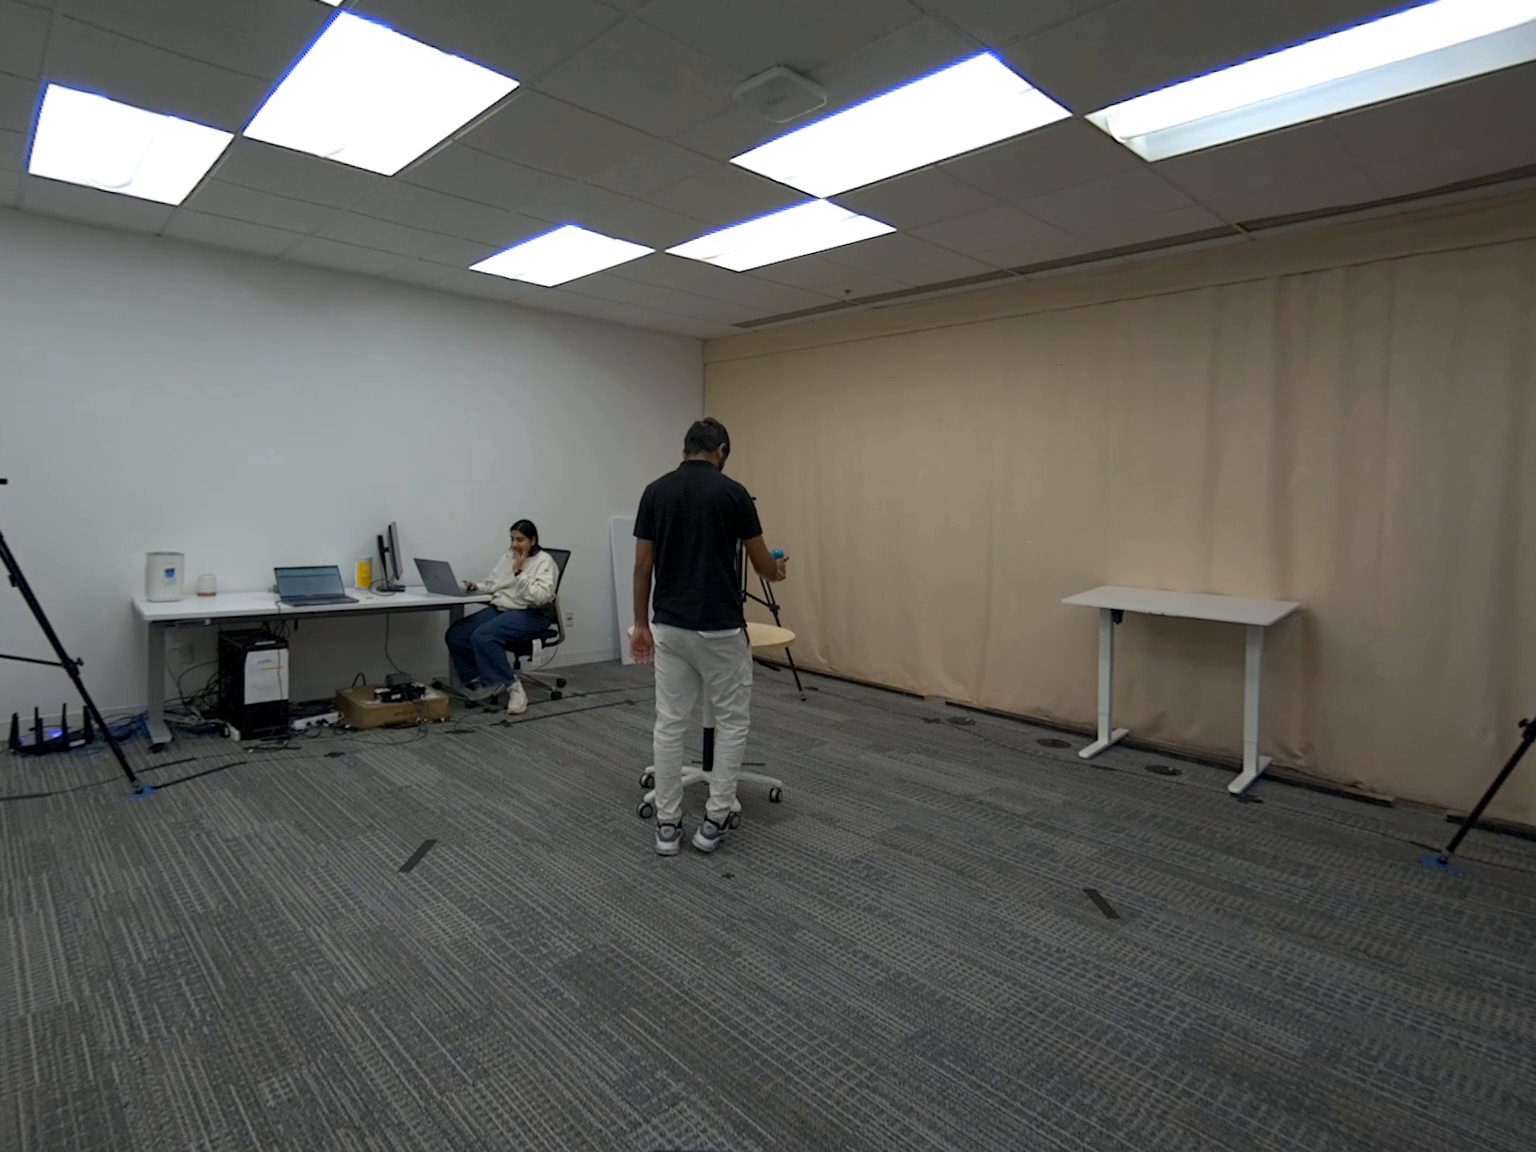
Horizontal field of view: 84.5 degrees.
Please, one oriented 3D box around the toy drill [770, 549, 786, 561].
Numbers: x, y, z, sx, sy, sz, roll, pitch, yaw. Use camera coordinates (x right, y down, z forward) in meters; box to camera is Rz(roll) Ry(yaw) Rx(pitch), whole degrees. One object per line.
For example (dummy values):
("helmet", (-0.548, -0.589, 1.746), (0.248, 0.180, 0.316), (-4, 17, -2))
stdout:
("toy drill", (0.031, -0.044, 3.733), (0.060, 0.147, 0.171), (5, -9, -17))
